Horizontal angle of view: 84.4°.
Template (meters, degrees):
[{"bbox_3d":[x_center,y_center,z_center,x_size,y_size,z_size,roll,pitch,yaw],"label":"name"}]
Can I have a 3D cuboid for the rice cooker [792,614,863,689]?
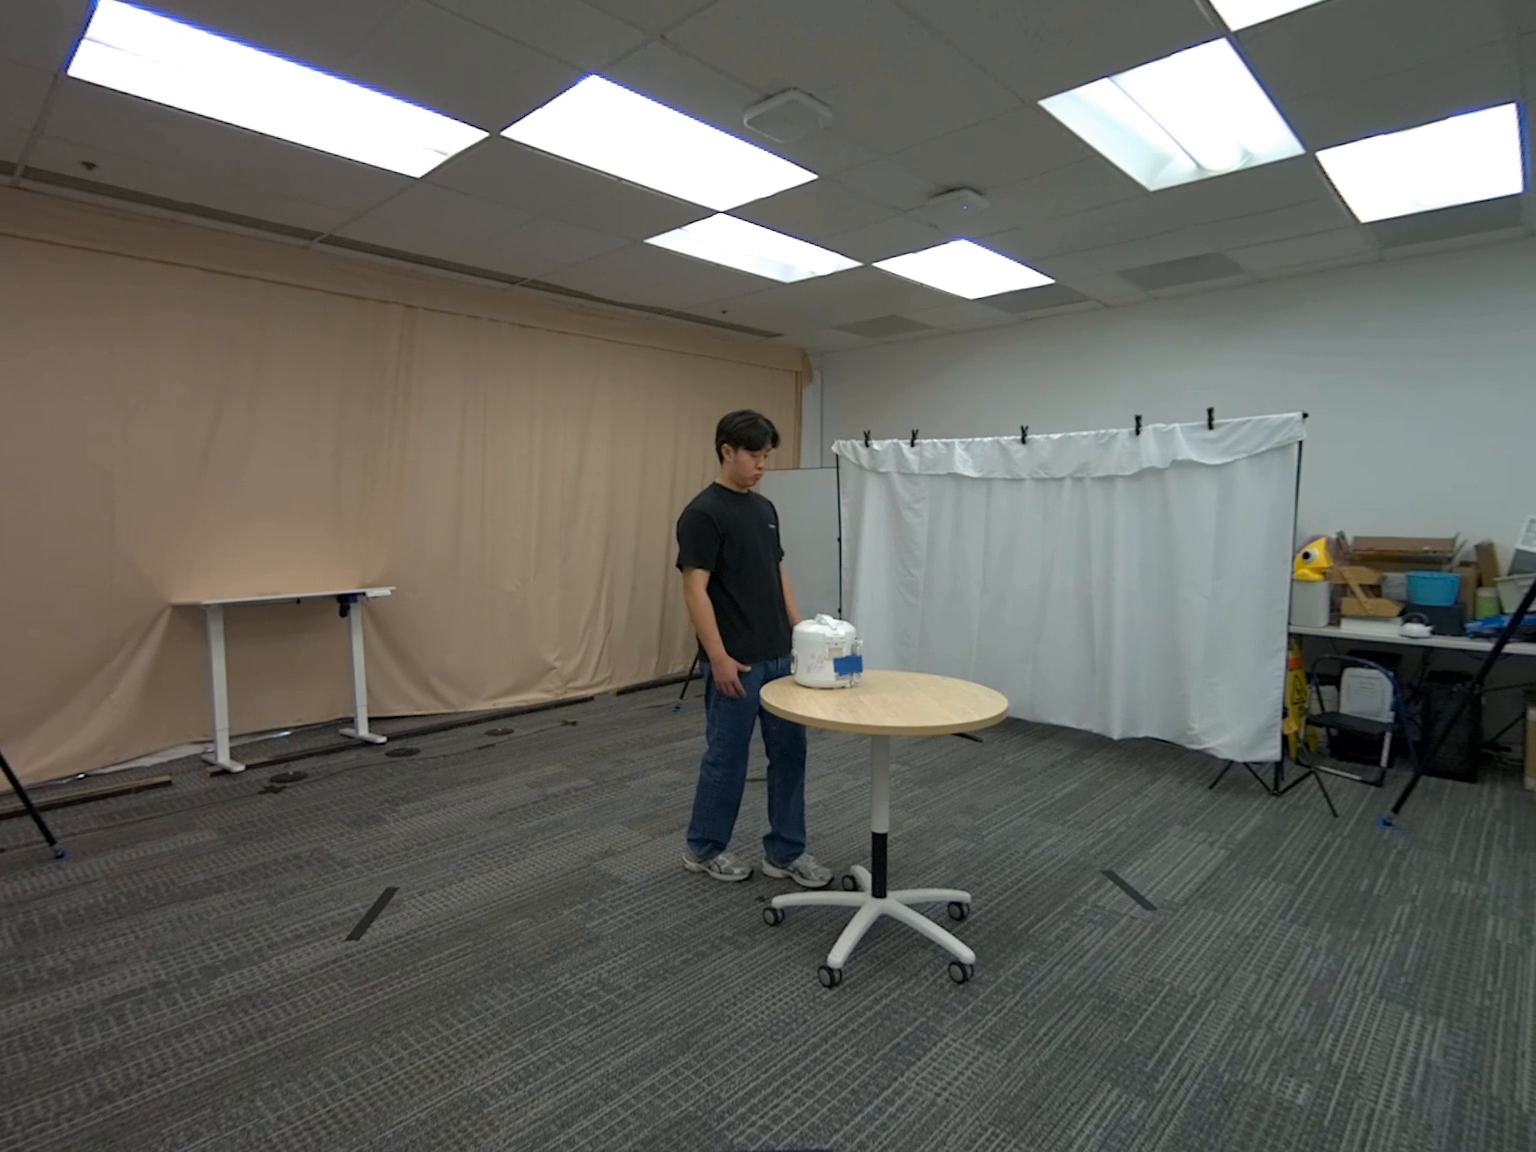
[{"bbox_3d":[0.192,0.245,2.803,0.214,0.232,0.224,-1,3,-14],"label":"rice cooker"}]
